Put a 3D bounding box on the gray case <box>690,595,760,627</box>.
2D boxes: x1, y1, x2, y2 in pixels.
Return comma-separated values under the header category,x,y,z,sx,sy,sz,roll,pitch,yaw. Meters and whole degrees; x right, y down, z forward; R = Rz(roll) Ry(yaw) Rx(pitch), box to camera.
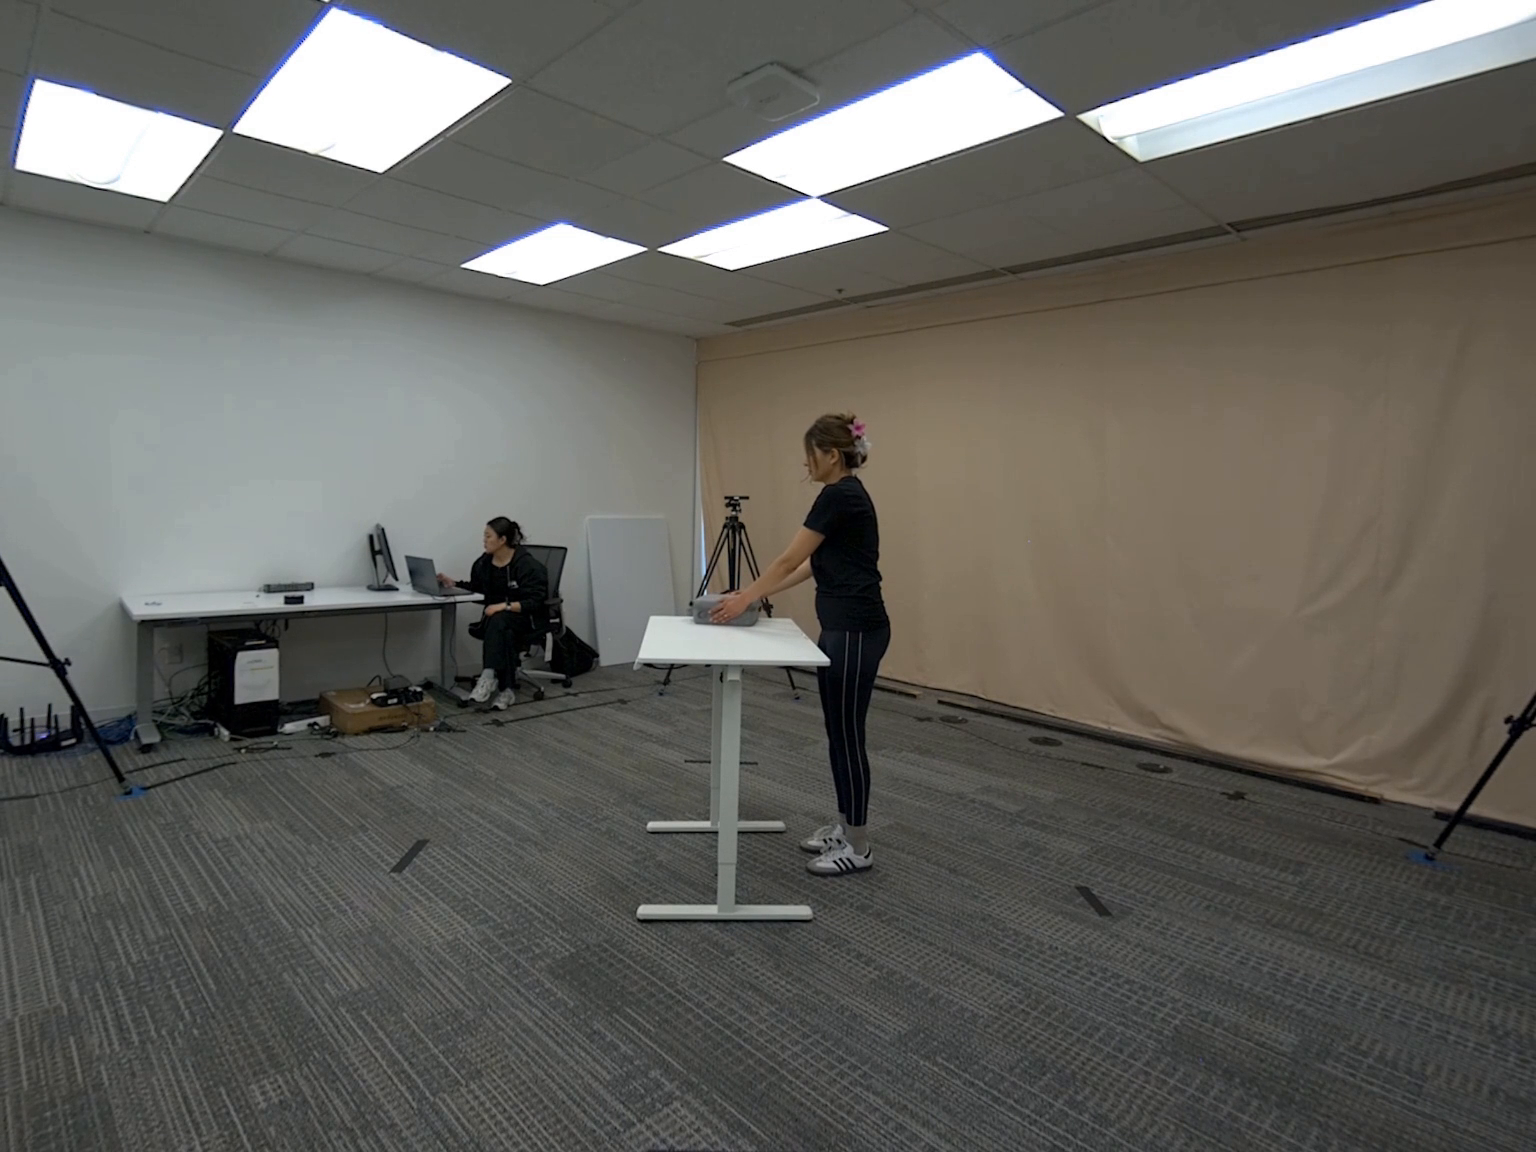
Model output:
category,x,y,z,sx,sy,sz,roll,pitch,yaw
gray case,-0.175,0.136,3.476,0.262,0.104,0.256,1,5,8
